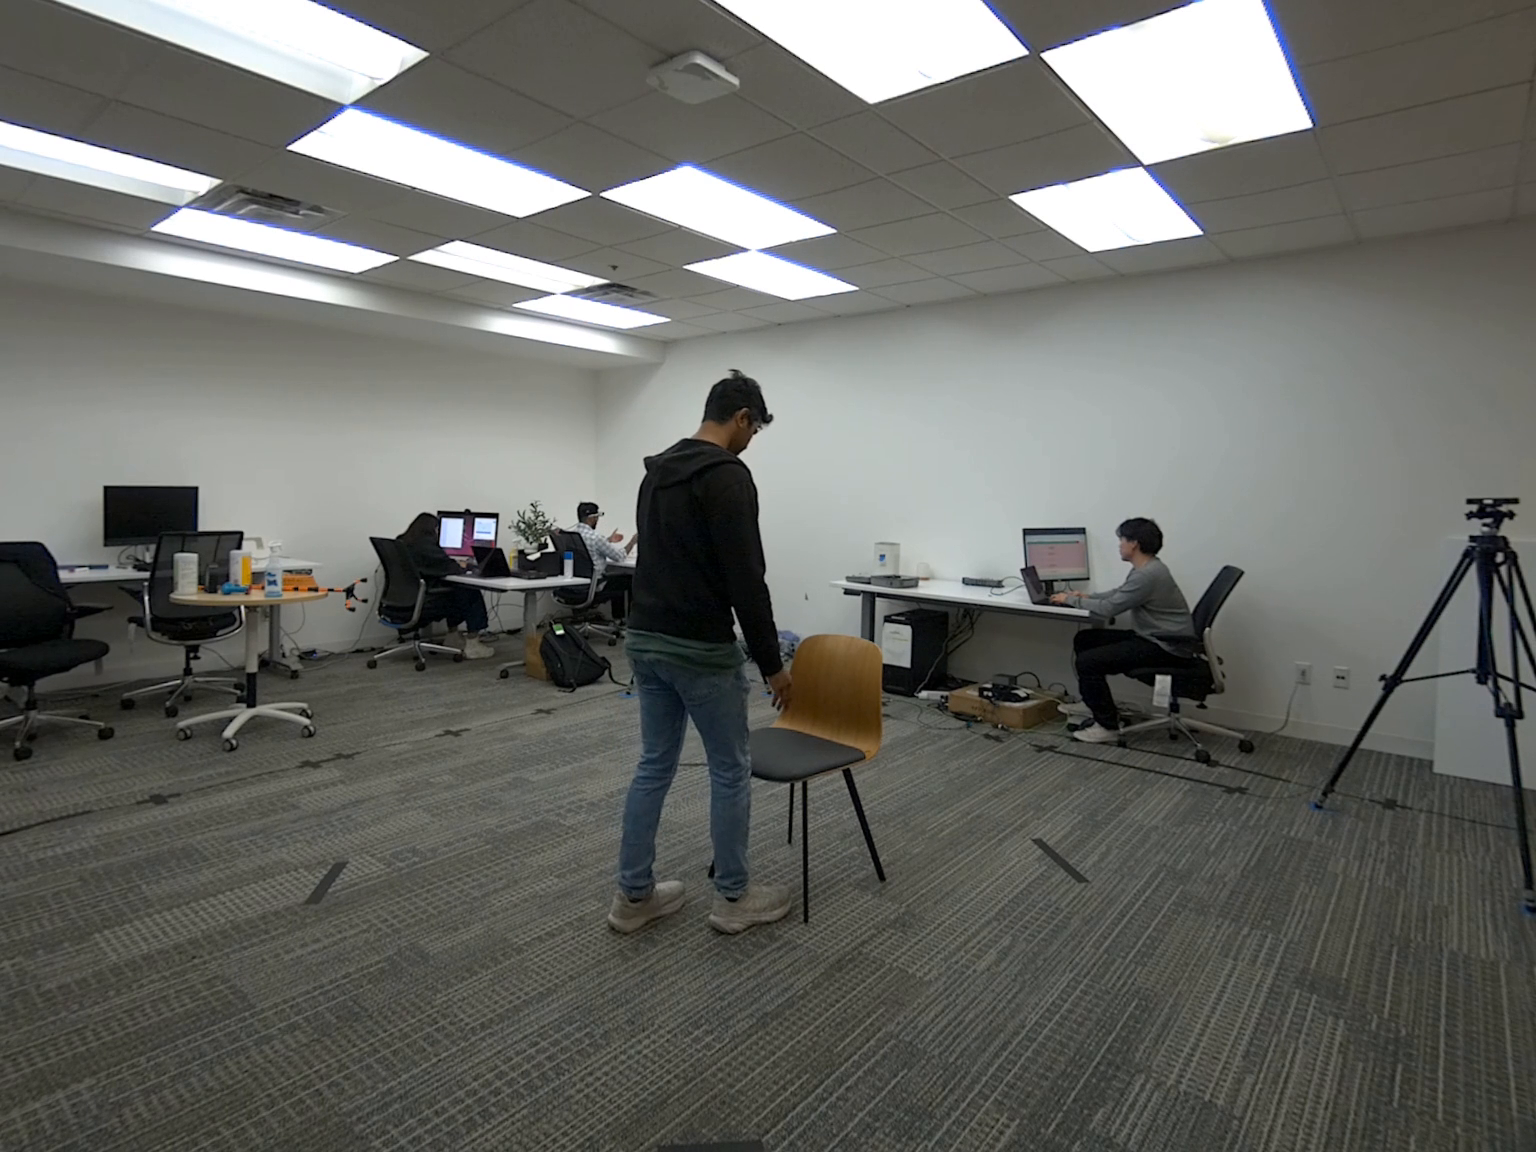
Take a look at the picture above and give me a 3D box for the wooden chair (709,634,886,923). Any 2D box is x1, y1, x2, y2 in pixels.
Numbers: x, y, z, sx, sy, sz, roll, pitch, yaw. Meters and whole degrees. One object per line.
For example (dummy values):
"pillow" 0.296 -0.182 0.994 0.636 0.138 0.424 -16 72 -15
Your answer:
"wooden chair" 0.104 0.658 3.015 0.494 0.877 0.505 5 1 43
